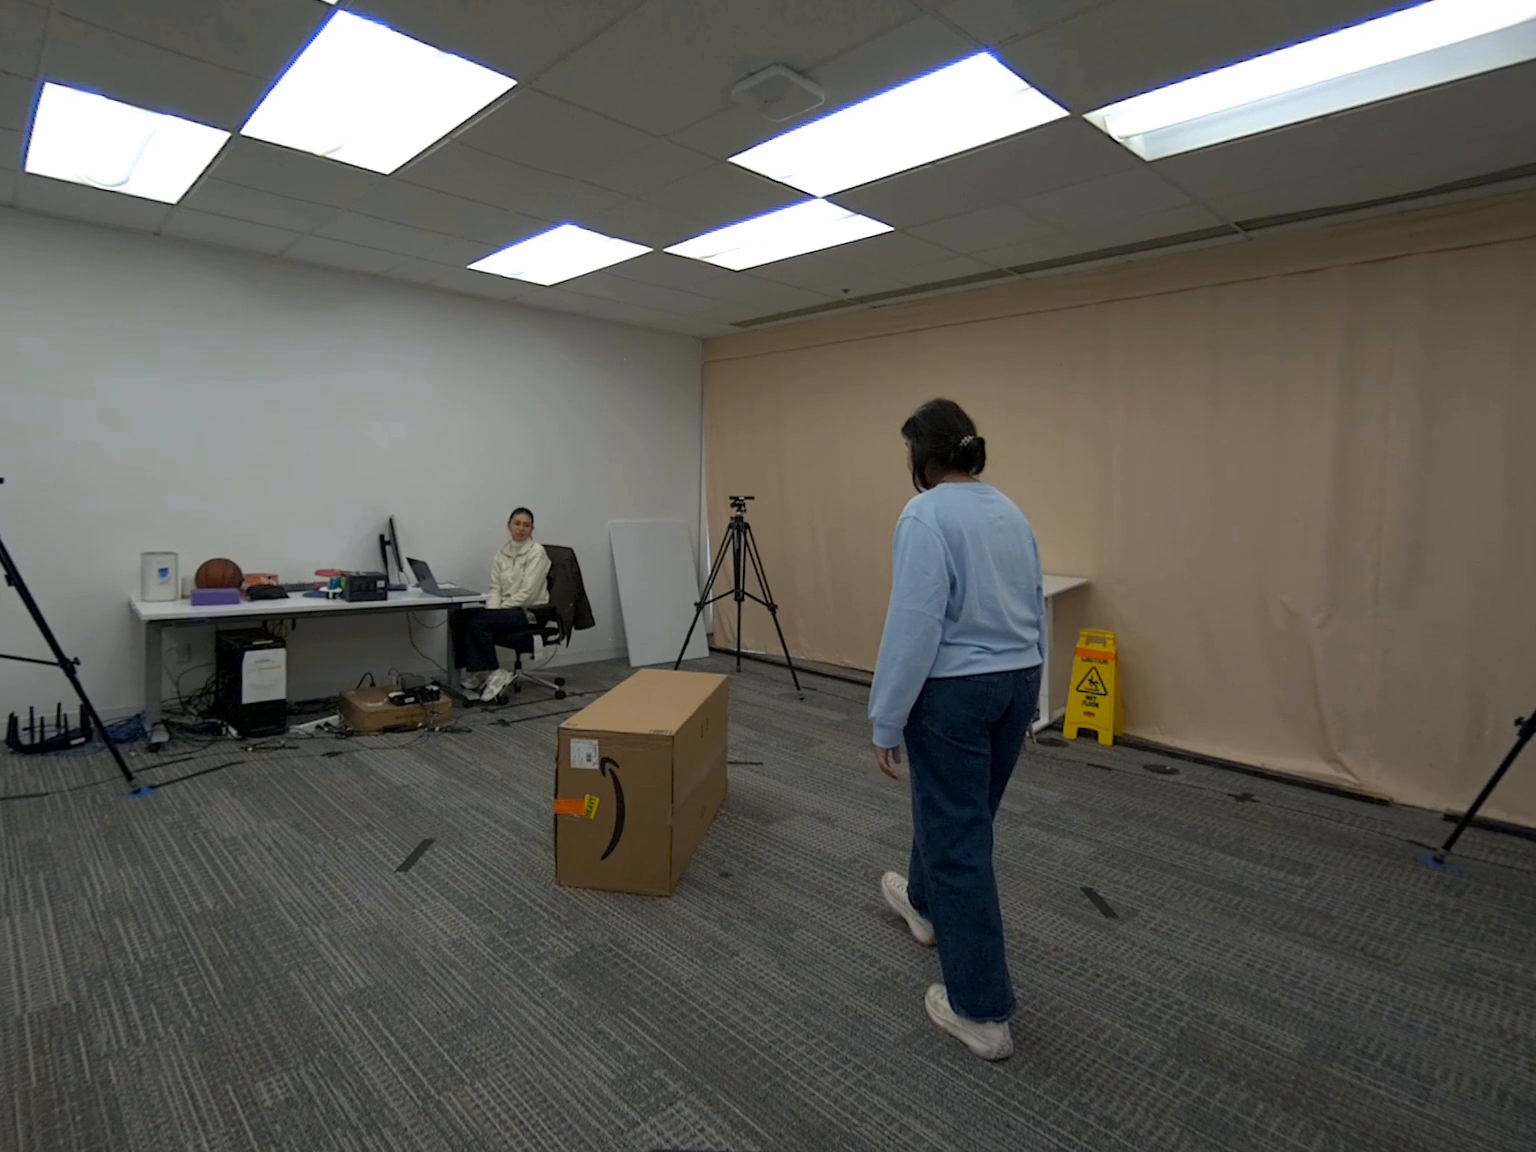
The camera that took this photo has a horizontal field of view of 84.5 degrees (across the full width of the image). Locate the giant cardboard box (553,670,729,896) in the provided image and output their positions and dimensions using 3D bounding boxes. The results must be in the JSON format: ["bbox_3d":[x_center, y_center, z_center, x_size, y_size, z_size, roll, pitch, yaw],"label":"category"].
[{"bbox_3d":[-0.477,0.775,3.443,0.429,0.576,1.021,1,5,8],"label":"giant cardboard box"}]
